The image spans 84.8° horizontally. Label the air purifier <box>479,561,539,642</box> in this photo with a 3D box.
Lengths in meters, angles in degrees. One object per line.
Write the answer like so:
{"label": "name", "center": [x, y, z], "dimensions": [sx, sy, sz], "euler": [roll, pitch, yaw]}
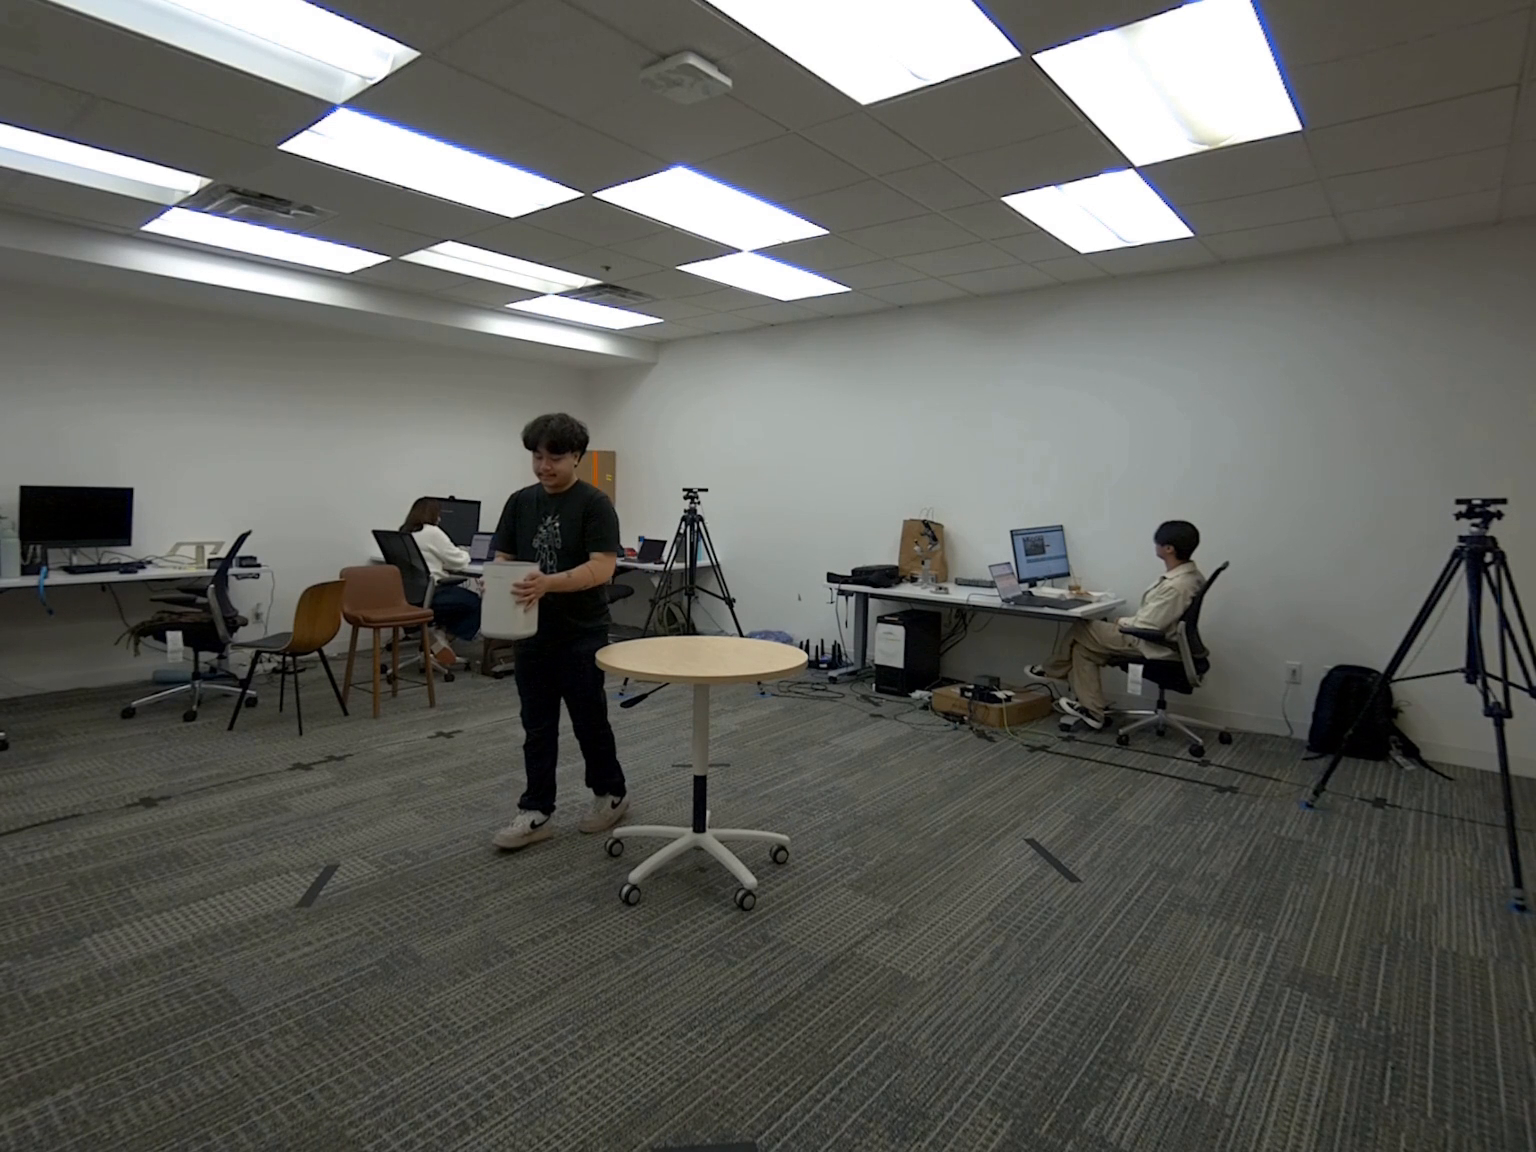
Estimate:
{"label": "air purifier", "center": [-0.935, 0.085, 3.055], "dimensions": [0.173, 0.265, 0.169], "euler": [4, 0, 12]}
